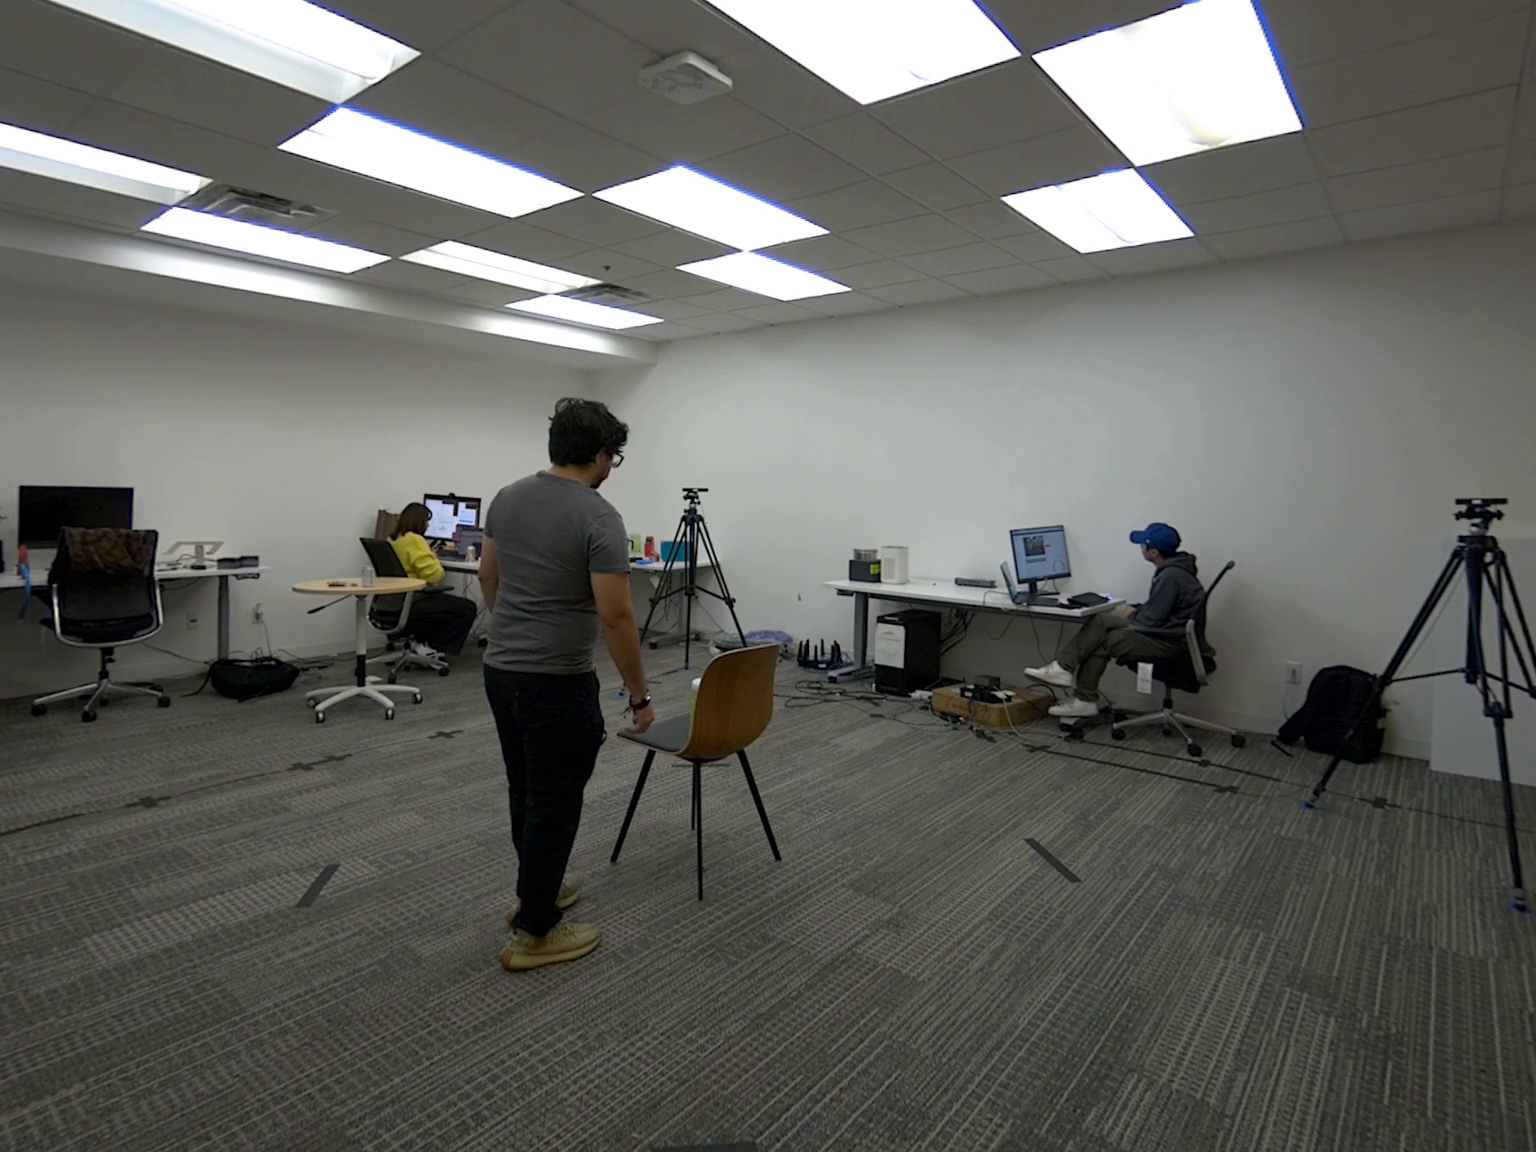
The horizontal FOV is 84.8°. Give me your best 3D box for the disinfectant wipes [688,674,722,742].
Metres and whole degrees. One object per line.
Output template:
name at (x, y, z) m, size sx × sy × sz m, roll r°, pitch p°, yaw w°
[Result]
disinfectant wipes at (-0.235, 0.489, 3.125) m, size 0.117 × 0.216 × 0.118 m, roll 1°, pitch 5°, yaw -2°
